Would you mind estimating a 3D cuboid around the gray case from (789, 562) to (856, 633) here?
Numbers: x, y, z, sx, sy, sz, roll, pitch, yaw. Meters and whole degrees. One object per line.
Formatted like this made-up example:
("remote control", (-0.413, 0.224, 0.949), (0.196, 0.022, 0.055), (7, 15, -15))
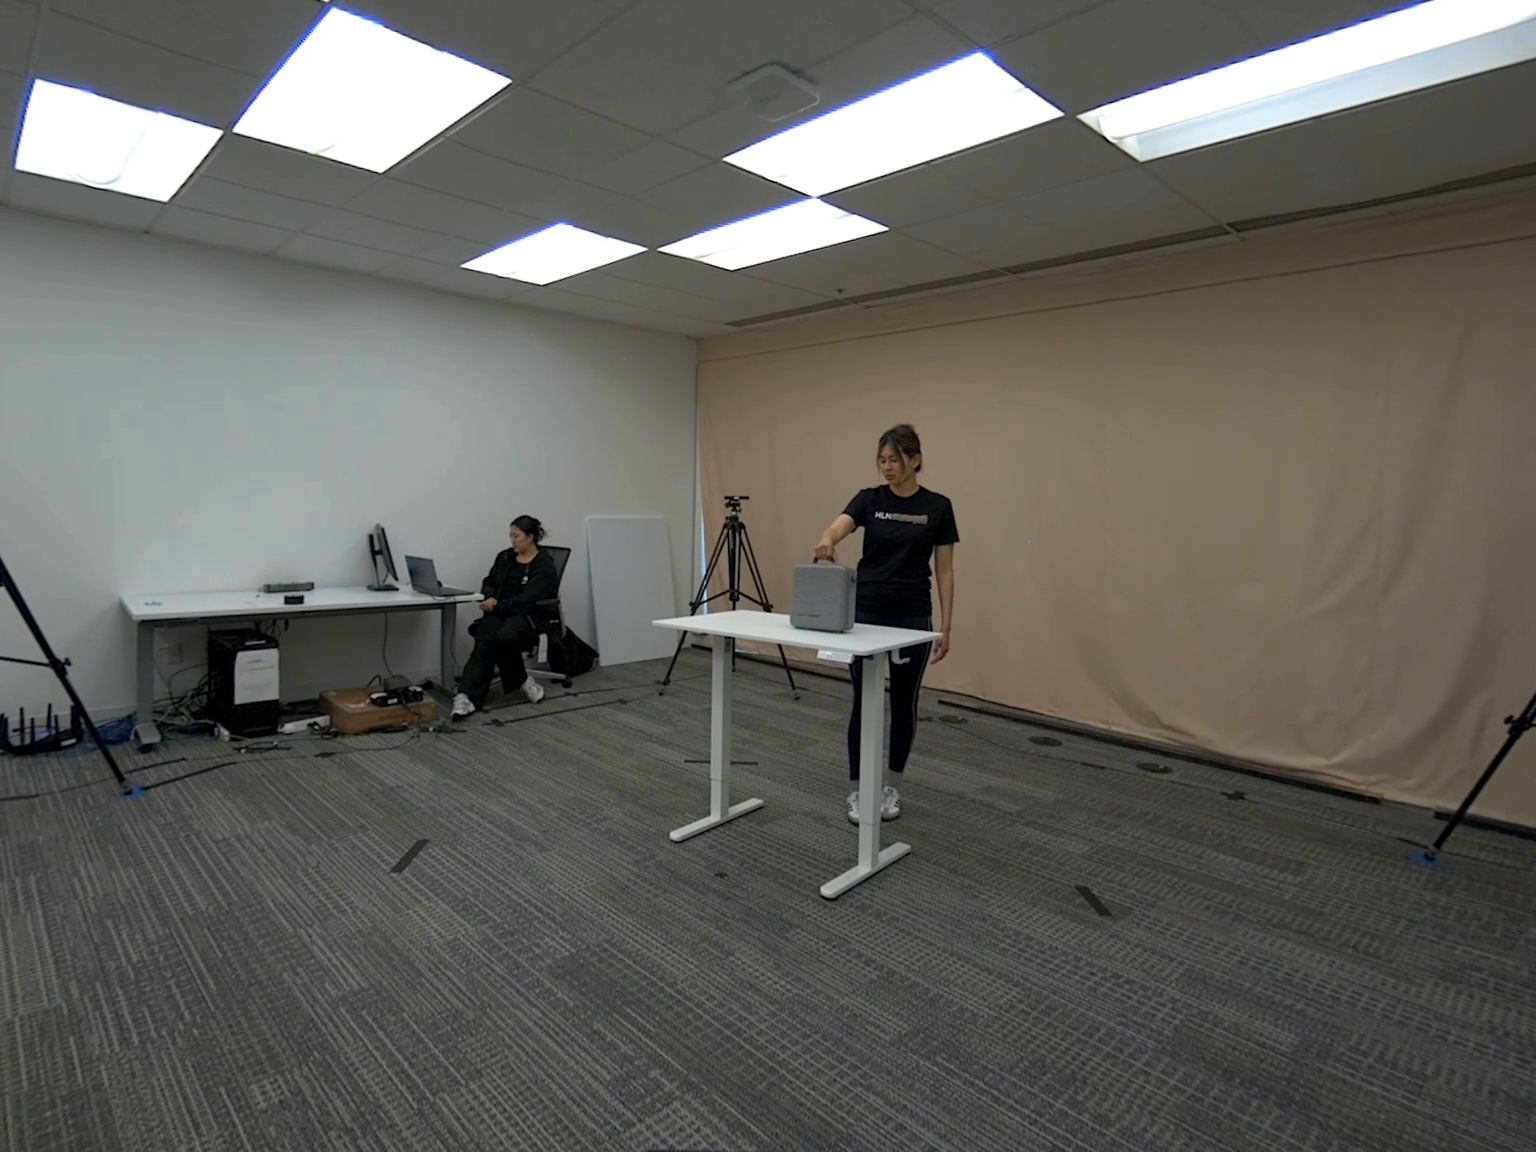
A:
("gray case", (0.200, 0.078, 3.288), (0.263, 0.261, 0.101), (1, -4, 41))
